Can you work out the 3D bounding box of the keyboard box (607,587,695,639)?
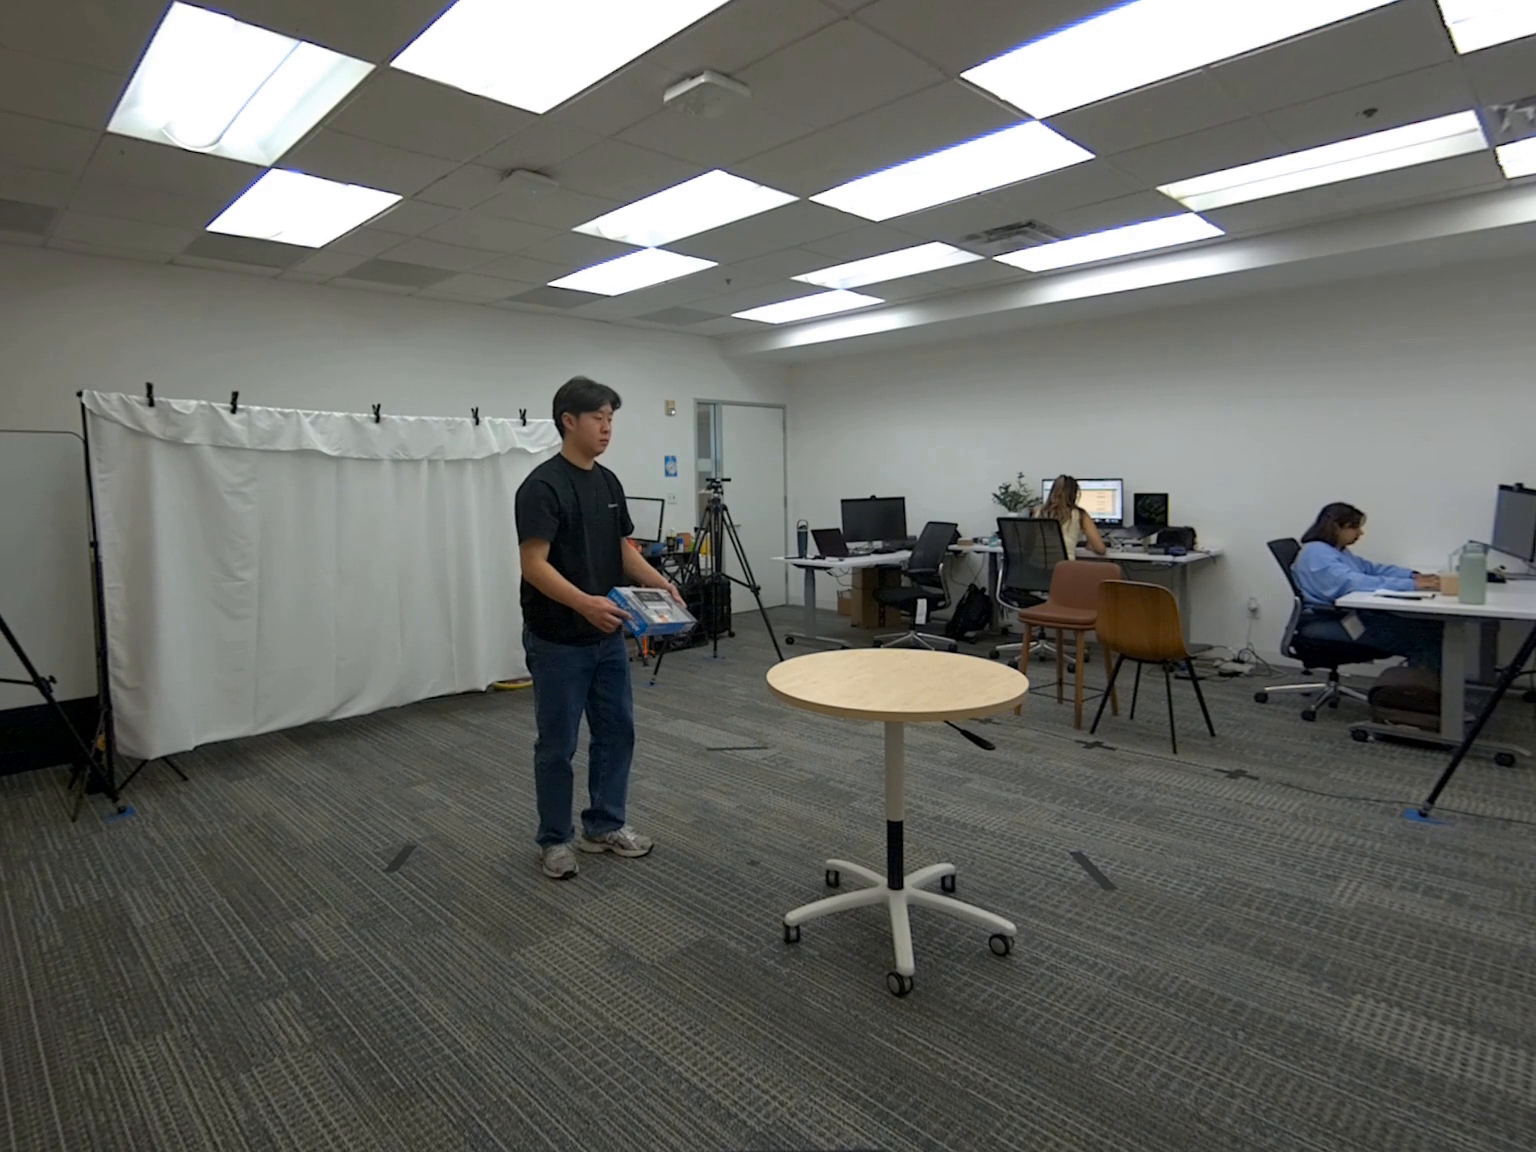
[{"bbox_3d":[-0.397,0.126,2.939,0.180,0.059,0.428,42,11,14],"label":"keyboard box"}]
